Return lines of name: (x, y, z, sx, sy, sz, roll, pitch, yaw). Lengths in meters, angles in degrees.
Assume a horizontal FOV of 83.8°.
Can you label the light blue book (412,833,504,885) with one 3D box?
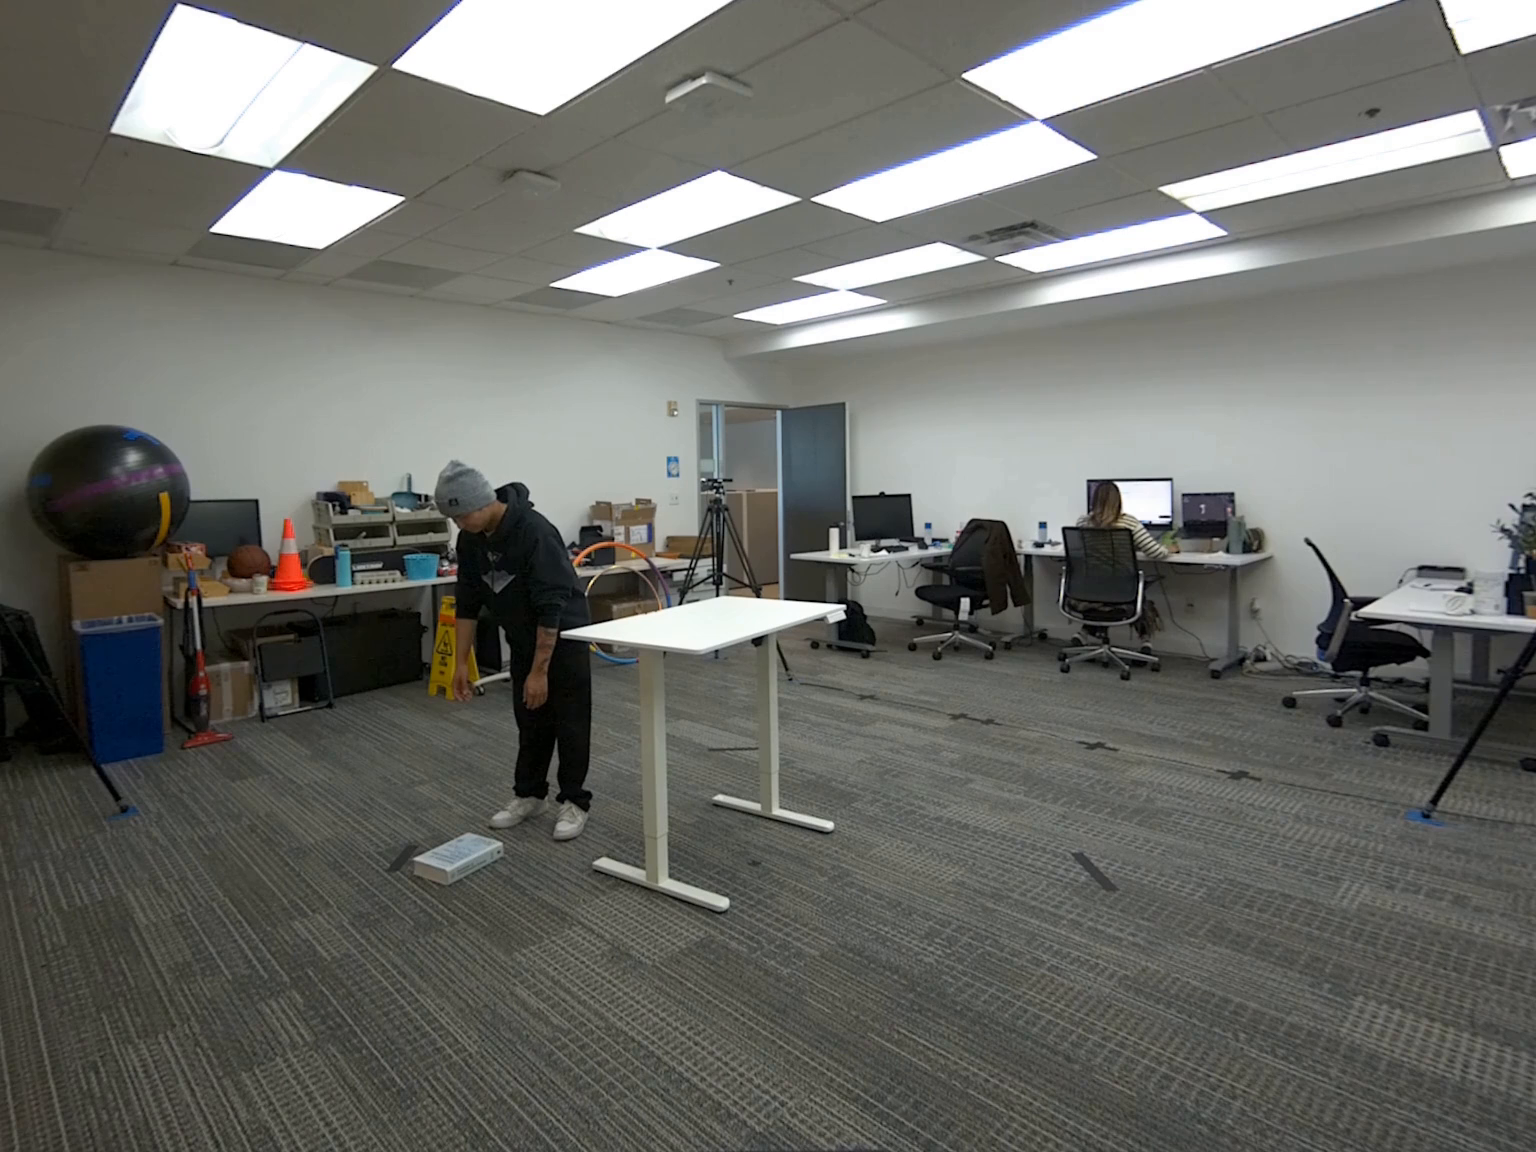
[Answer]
light blue book: (-1.137, 1.039, 3.138, 0.196, 0.059, 0.255, 2, 8, 31)
